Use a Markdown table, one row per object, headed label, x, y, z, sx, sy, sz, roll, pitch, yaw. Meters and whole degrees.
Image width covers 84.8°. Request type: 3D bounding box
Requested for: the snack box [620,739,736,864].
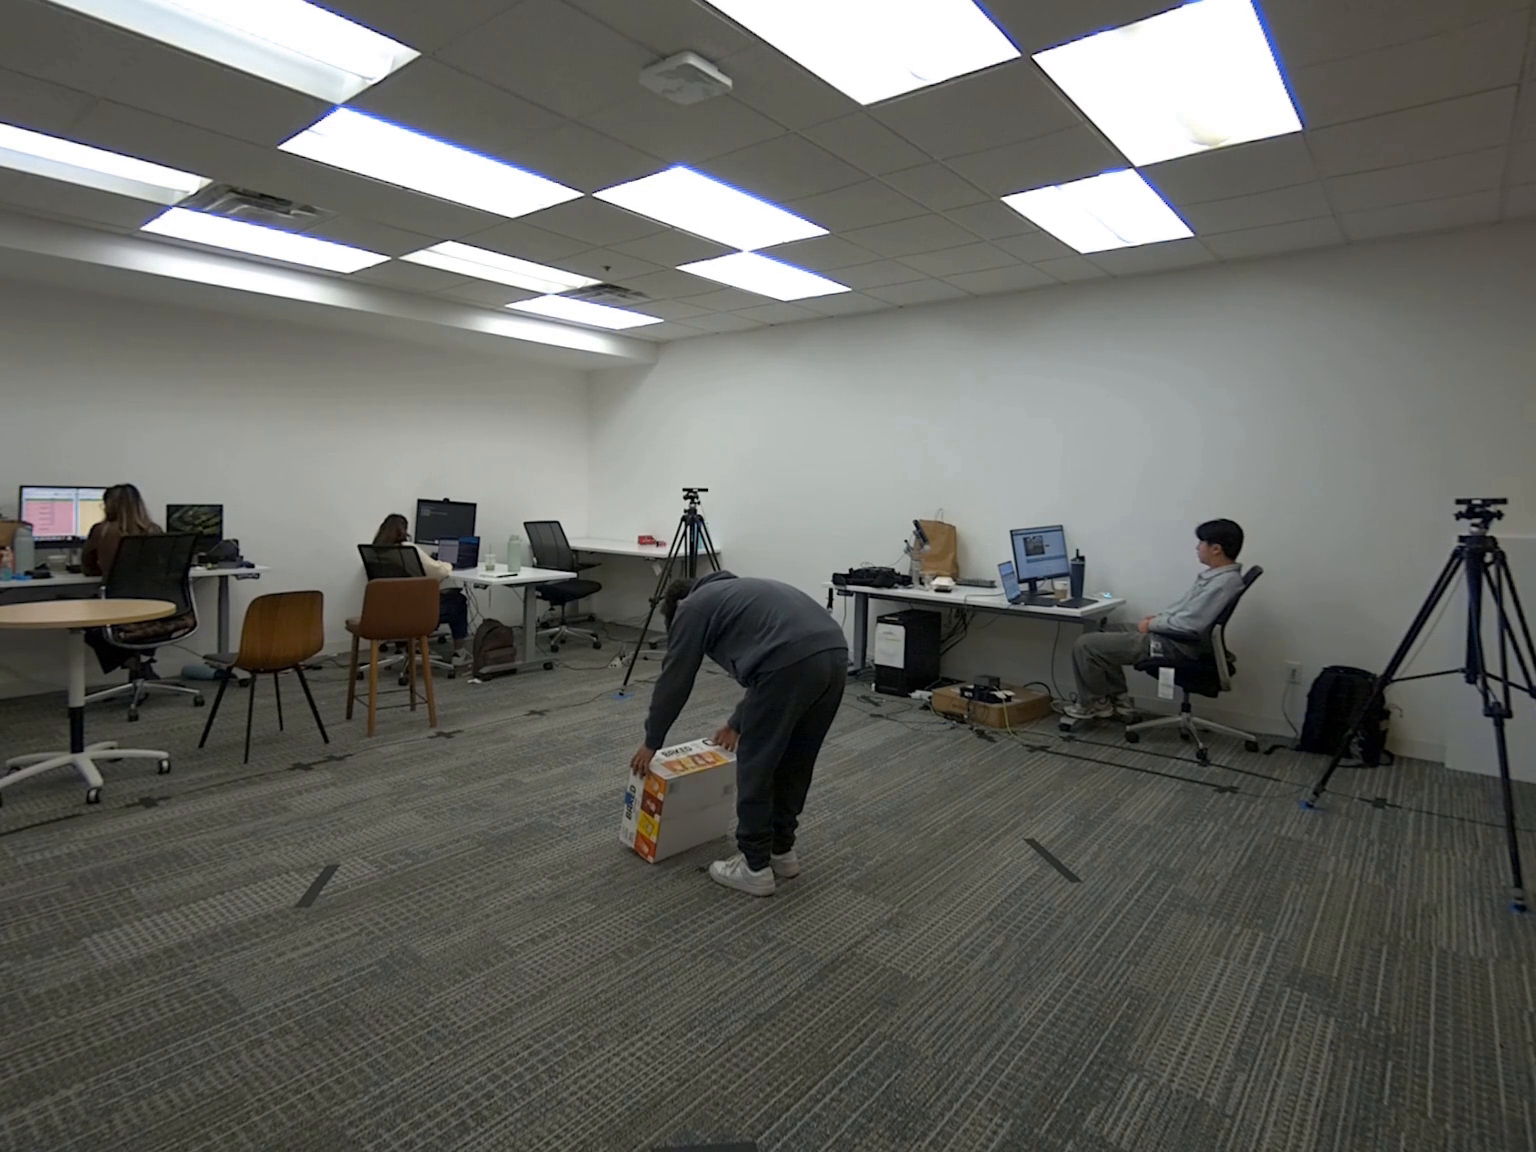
| label | x | y | z | sx | sy | sz | roll | pitch | yaw |
| --- | --- | --- | --- | --- | --- | --- | --- | --- | --- |
| snack box | -0.351 | 0.863 | 3.320 | 0.214 | 0.337 | 0.393 | 19 | 14 | 41 |
